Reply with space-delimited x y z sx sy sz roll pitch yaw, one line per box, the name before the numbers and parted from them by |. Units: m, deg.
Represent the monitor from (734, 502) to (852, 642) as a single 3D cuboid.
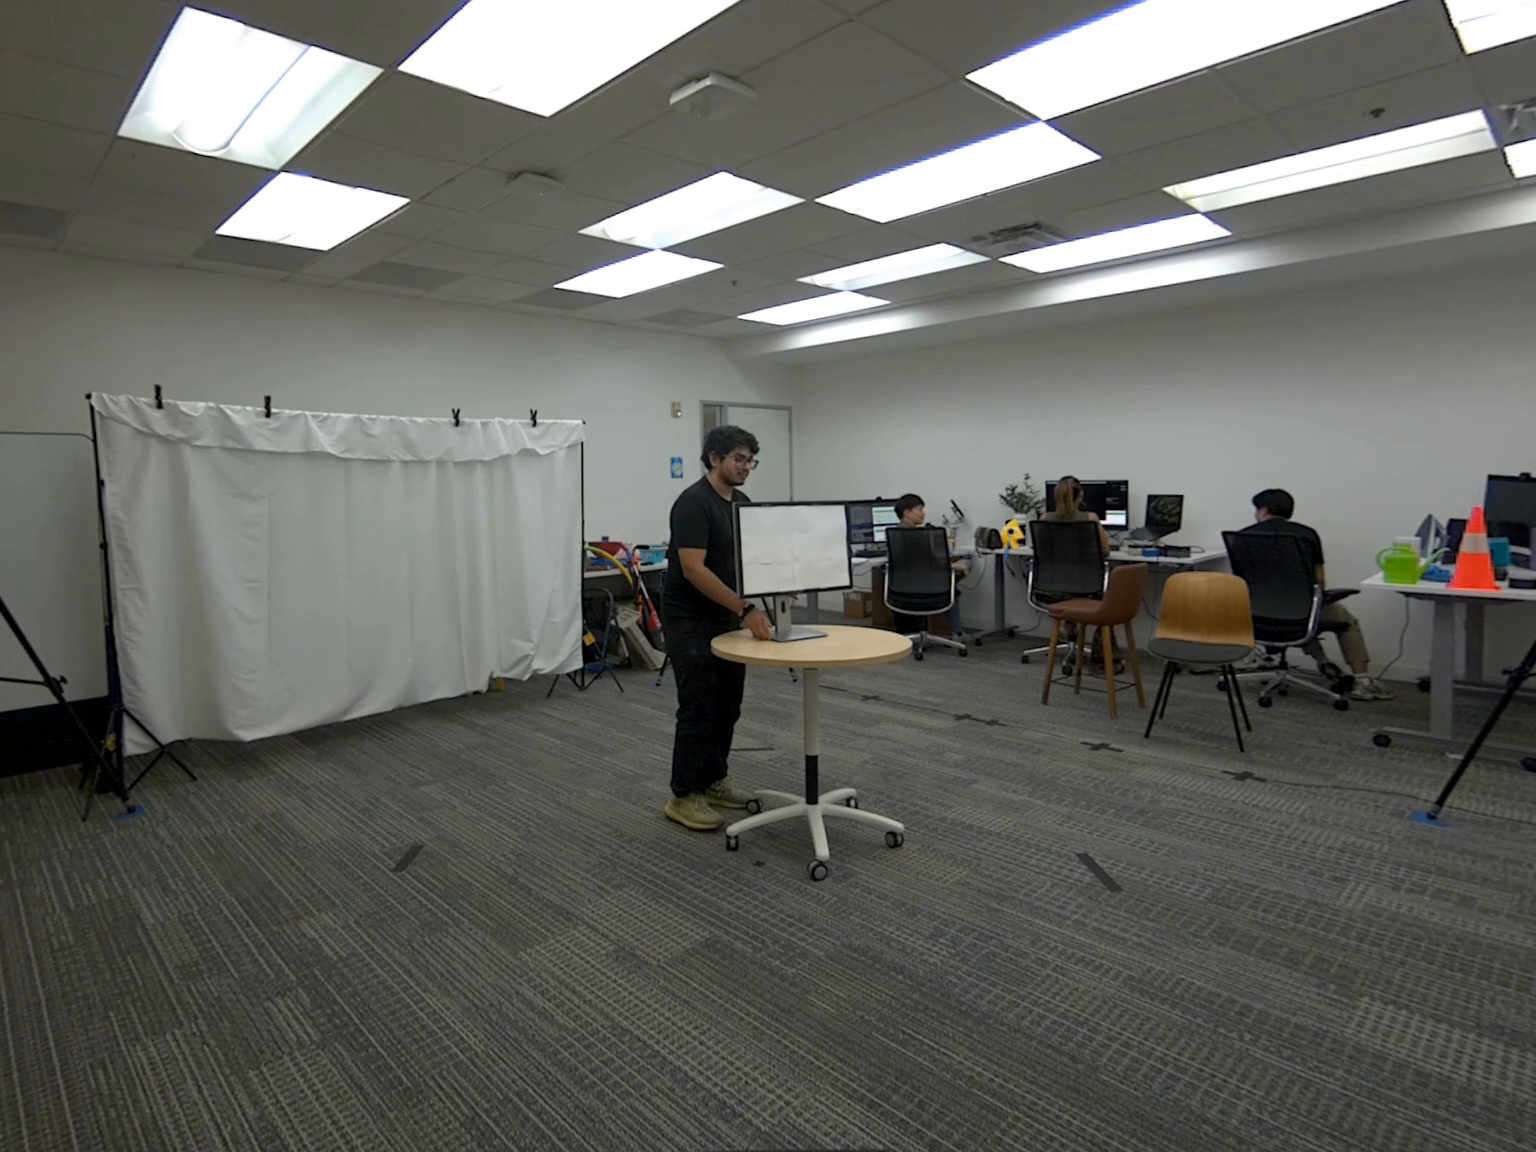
monitor | 0.069 -0.028 3.414 0.551 0.553 0.216 -3 3 -35
